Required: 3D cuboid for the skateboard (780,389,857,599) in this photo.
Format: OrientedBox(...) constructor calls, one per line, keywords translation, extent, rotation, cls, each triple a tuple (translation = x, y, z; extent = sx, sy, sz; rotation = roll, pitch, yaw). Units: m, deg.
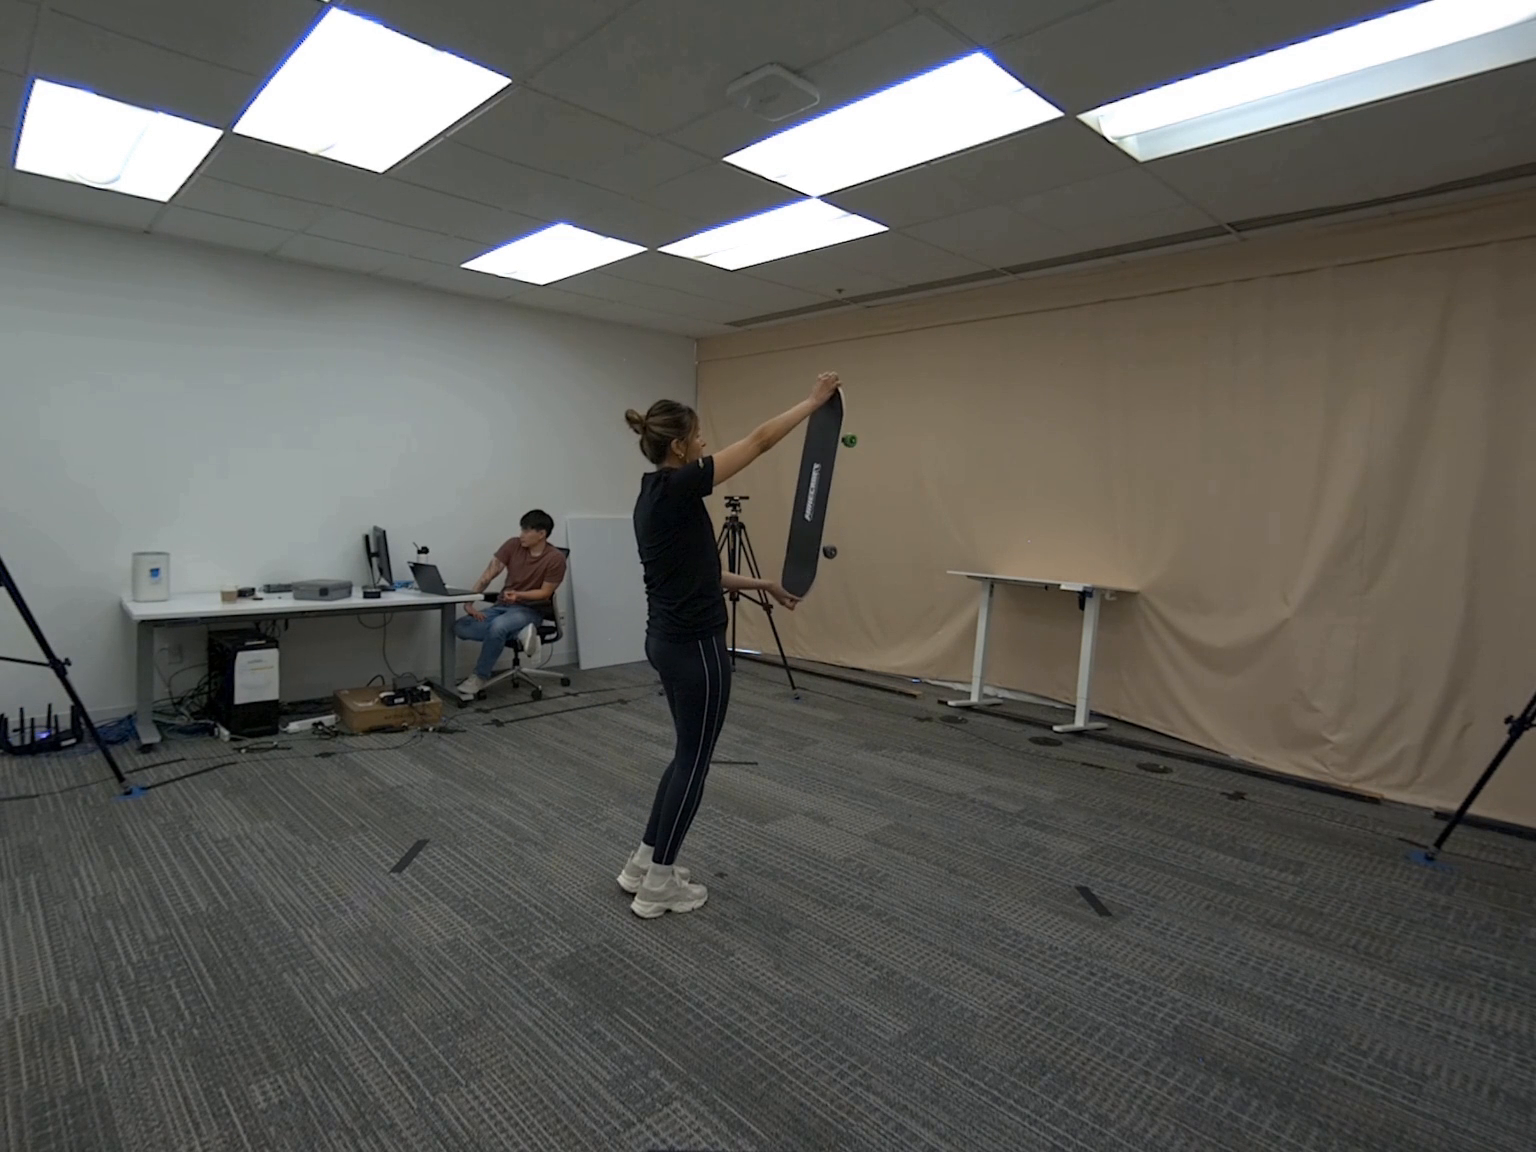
OrientedBox(translation=(0.185, -0.293, 2.992), extent=(0.108, 0.781, 0.199), rotation=(3, 12, -35), cls="skateboard")
